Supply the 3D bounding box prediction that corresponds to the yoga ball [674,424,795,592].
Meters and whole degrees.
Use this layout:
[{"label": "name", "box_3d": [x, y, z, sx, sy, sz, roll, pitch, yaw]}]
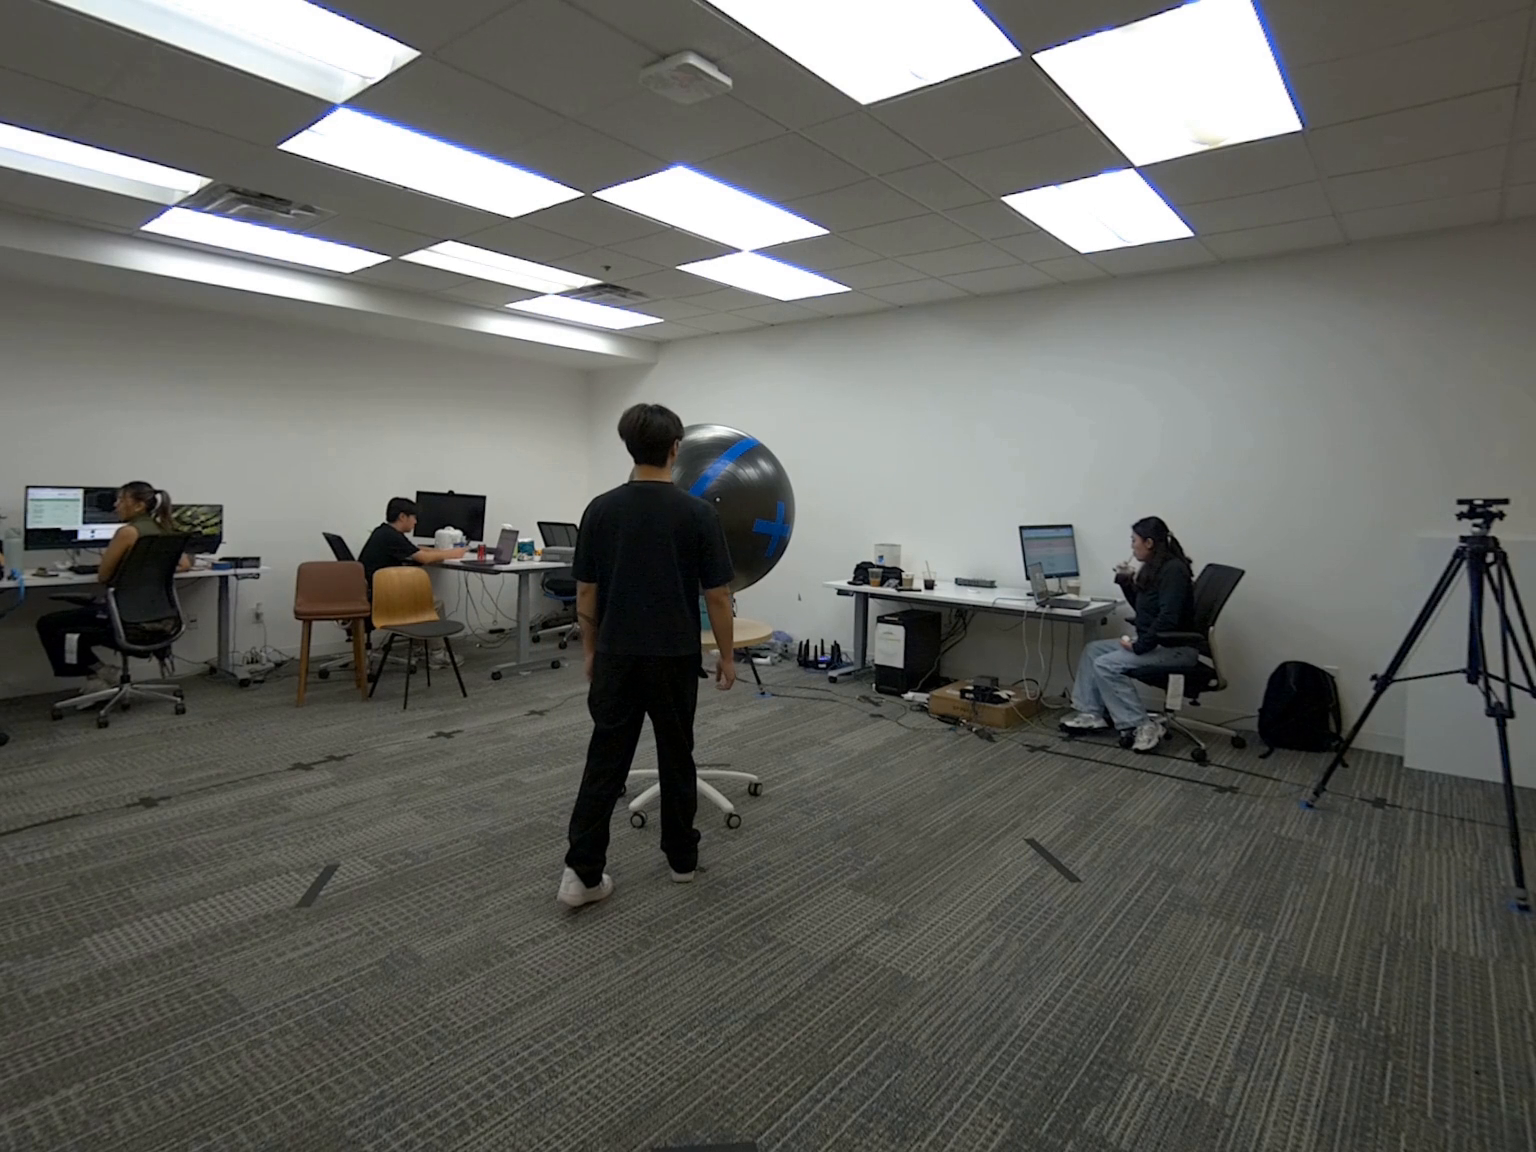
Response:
[{"label": "yoga ball", "box_3d": [-0.267, -0.290, 3.764, 0.757, 0.755, 0.762, 1, 4, -2]}]
